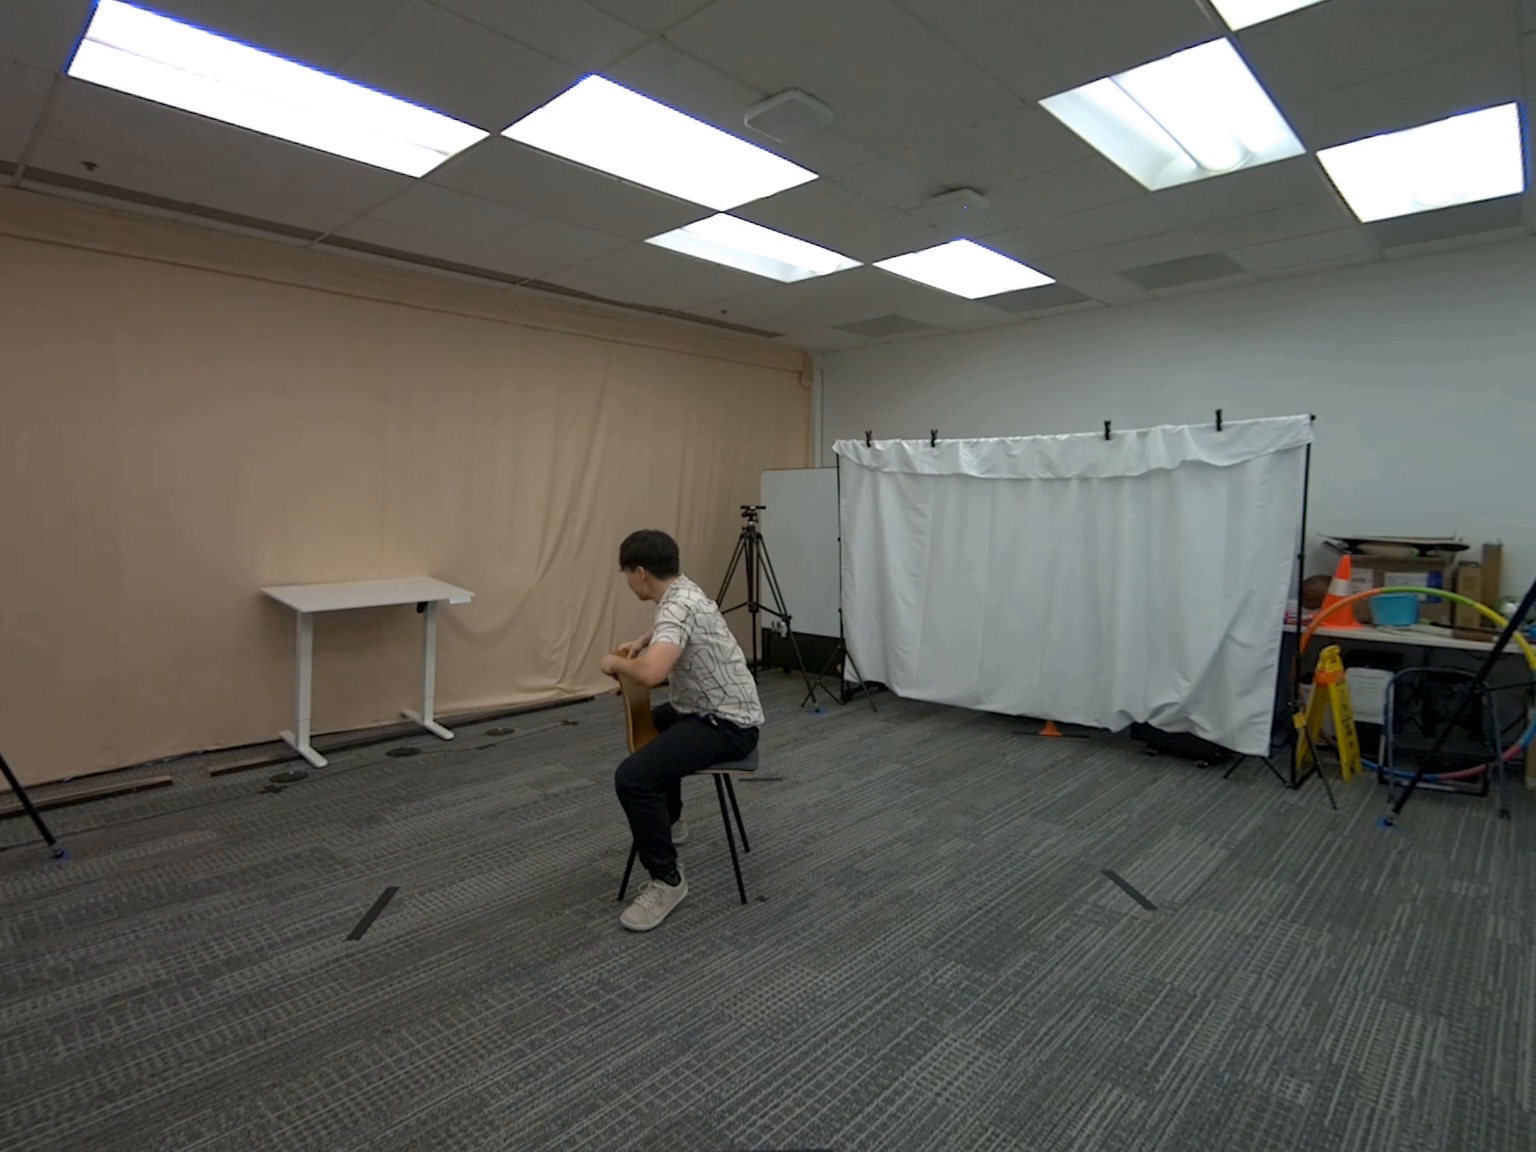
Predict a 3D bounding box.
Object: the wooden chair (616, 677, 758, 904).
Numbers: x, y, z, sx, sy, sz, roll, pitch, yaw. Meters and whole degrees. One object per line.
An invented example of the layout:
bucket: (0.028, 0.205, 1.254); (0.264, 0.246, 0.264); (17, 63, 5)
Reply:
wooden chair: (-0.293, 0.714, 3.154); (0.524, 0.875, 0.478); (-5, 3, 1)
